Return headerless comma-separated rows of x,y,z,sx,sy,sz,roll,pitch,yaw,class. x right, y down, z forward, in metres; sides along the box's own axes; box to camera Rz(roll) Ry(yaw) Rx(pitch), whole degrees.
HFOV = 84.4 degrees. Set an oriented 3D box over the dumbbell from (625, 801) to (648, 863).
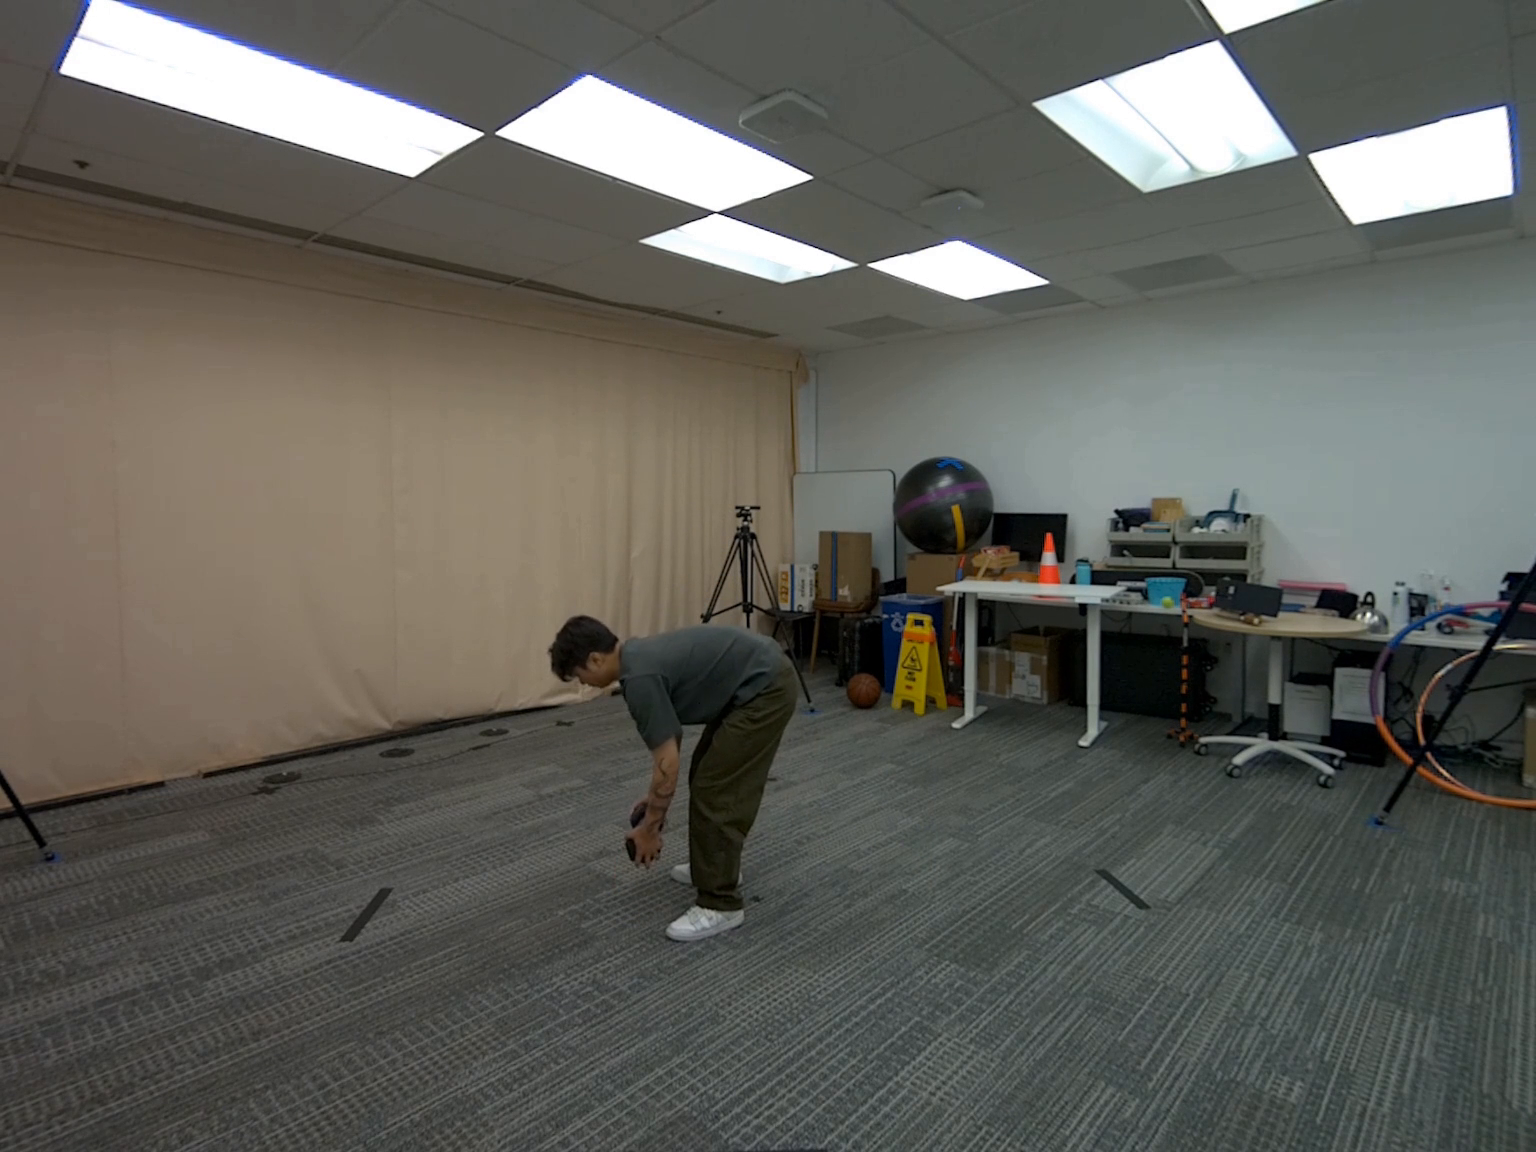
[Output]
-0.429,0.893,2.956,0.108,0.123,0.296,42,-1,-7,dumbbell
